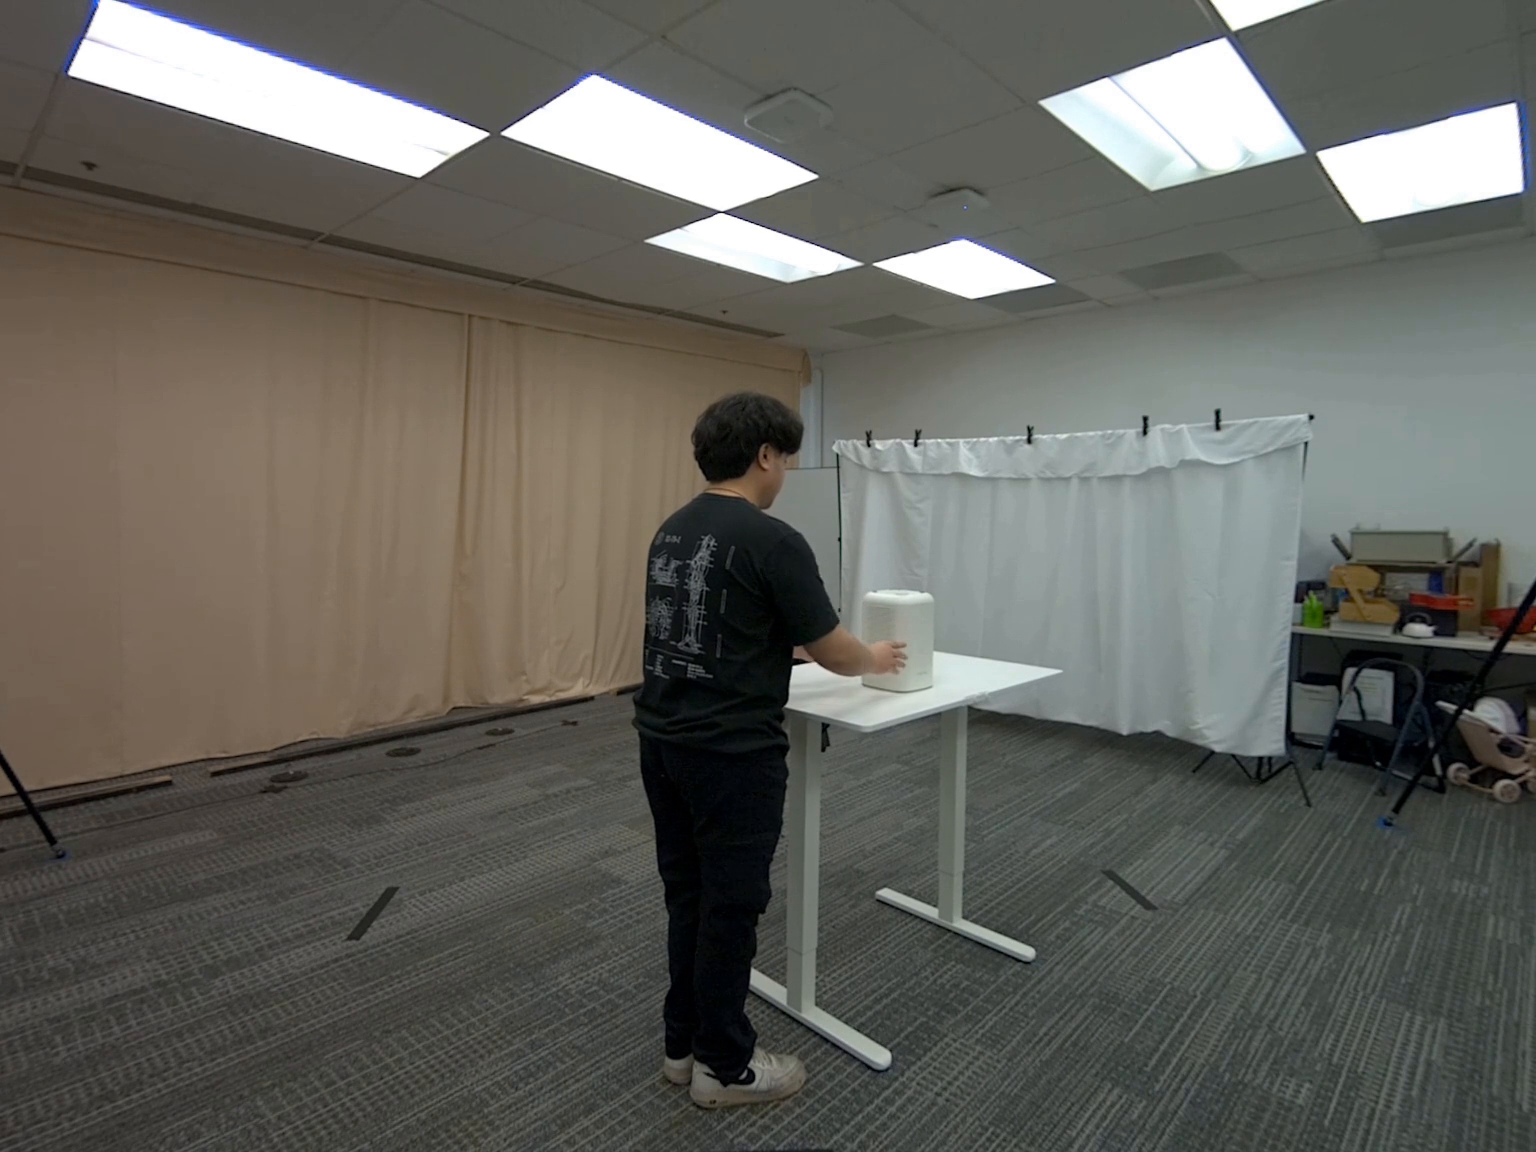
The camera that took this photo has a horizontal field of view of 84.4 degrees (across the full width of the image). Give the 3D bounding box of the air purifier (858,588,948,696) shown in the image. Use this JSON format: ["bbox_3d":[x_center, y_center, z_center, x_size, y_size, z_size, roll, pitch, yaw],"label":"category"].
[{"bbox_3d":[0.377,0.176,2.368,0.166,0.265,0.177,-2,3,-45],"label":"air purifier"}]
